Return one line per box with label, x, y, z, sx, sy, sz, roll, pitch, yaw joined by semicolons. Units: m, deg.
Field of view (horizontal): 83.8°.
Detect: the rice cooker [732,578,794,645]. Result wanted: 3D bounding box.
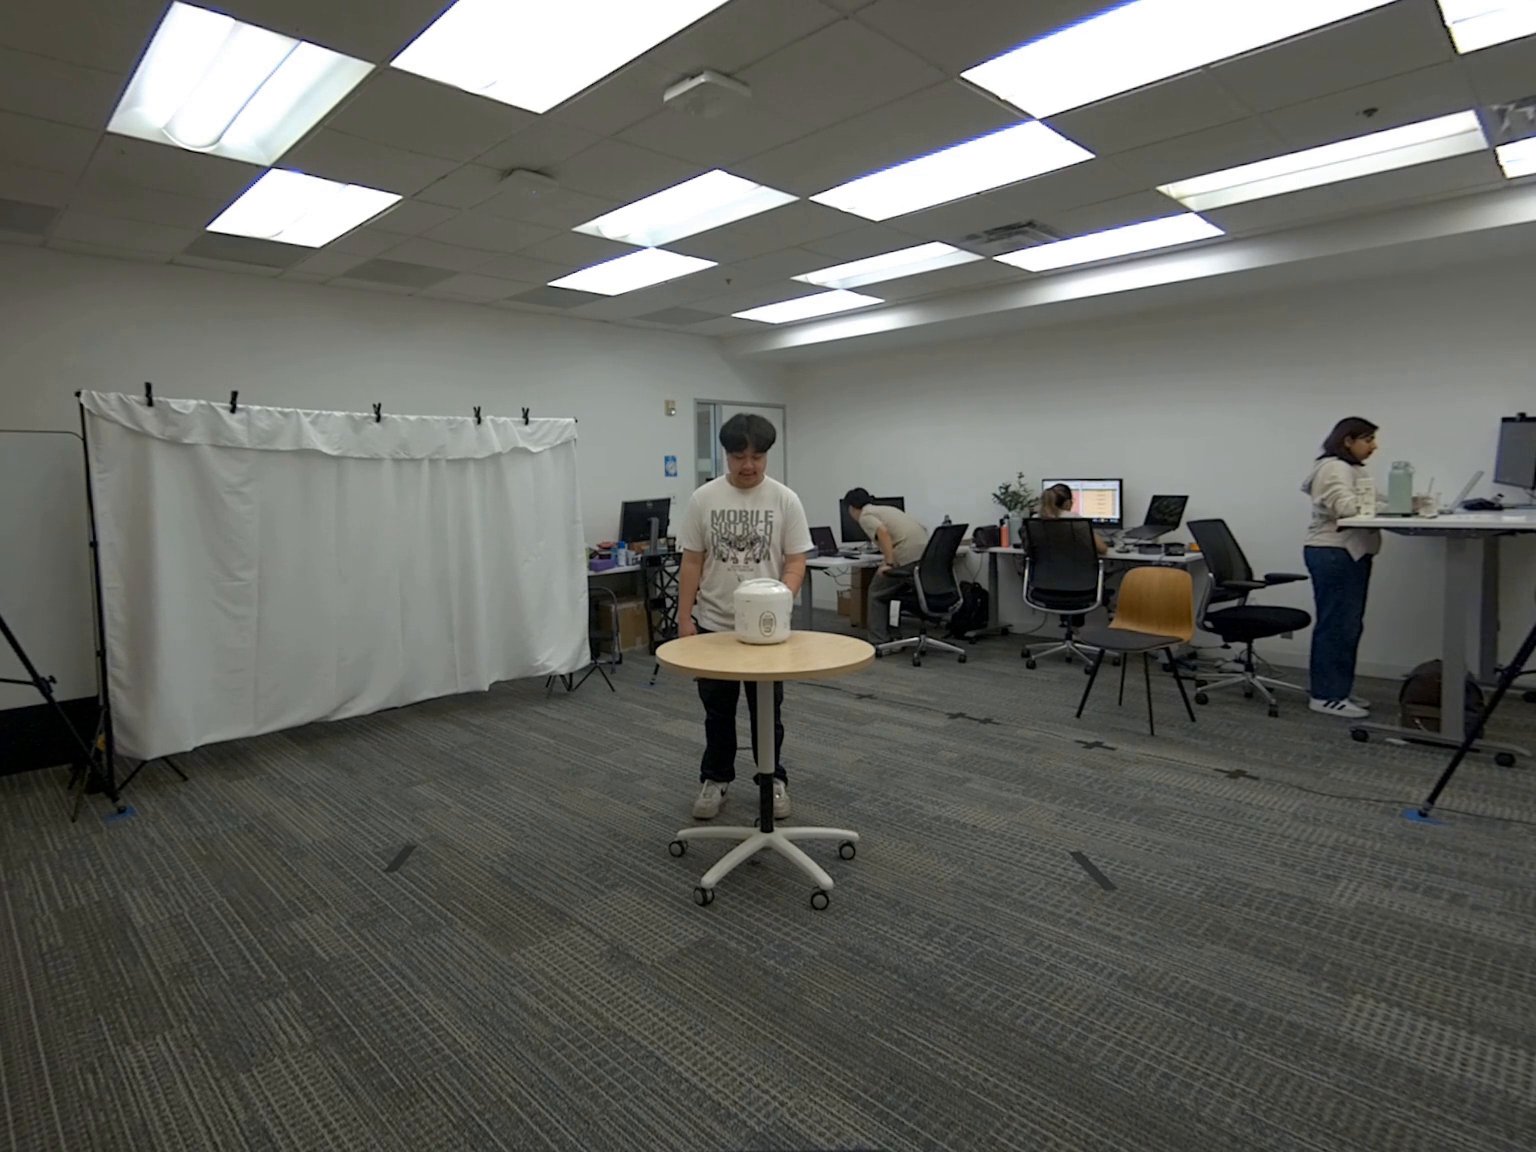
rice cooker;-0.023;0.126;3.147;0.219;0.232;0.220;-1;4;-9
